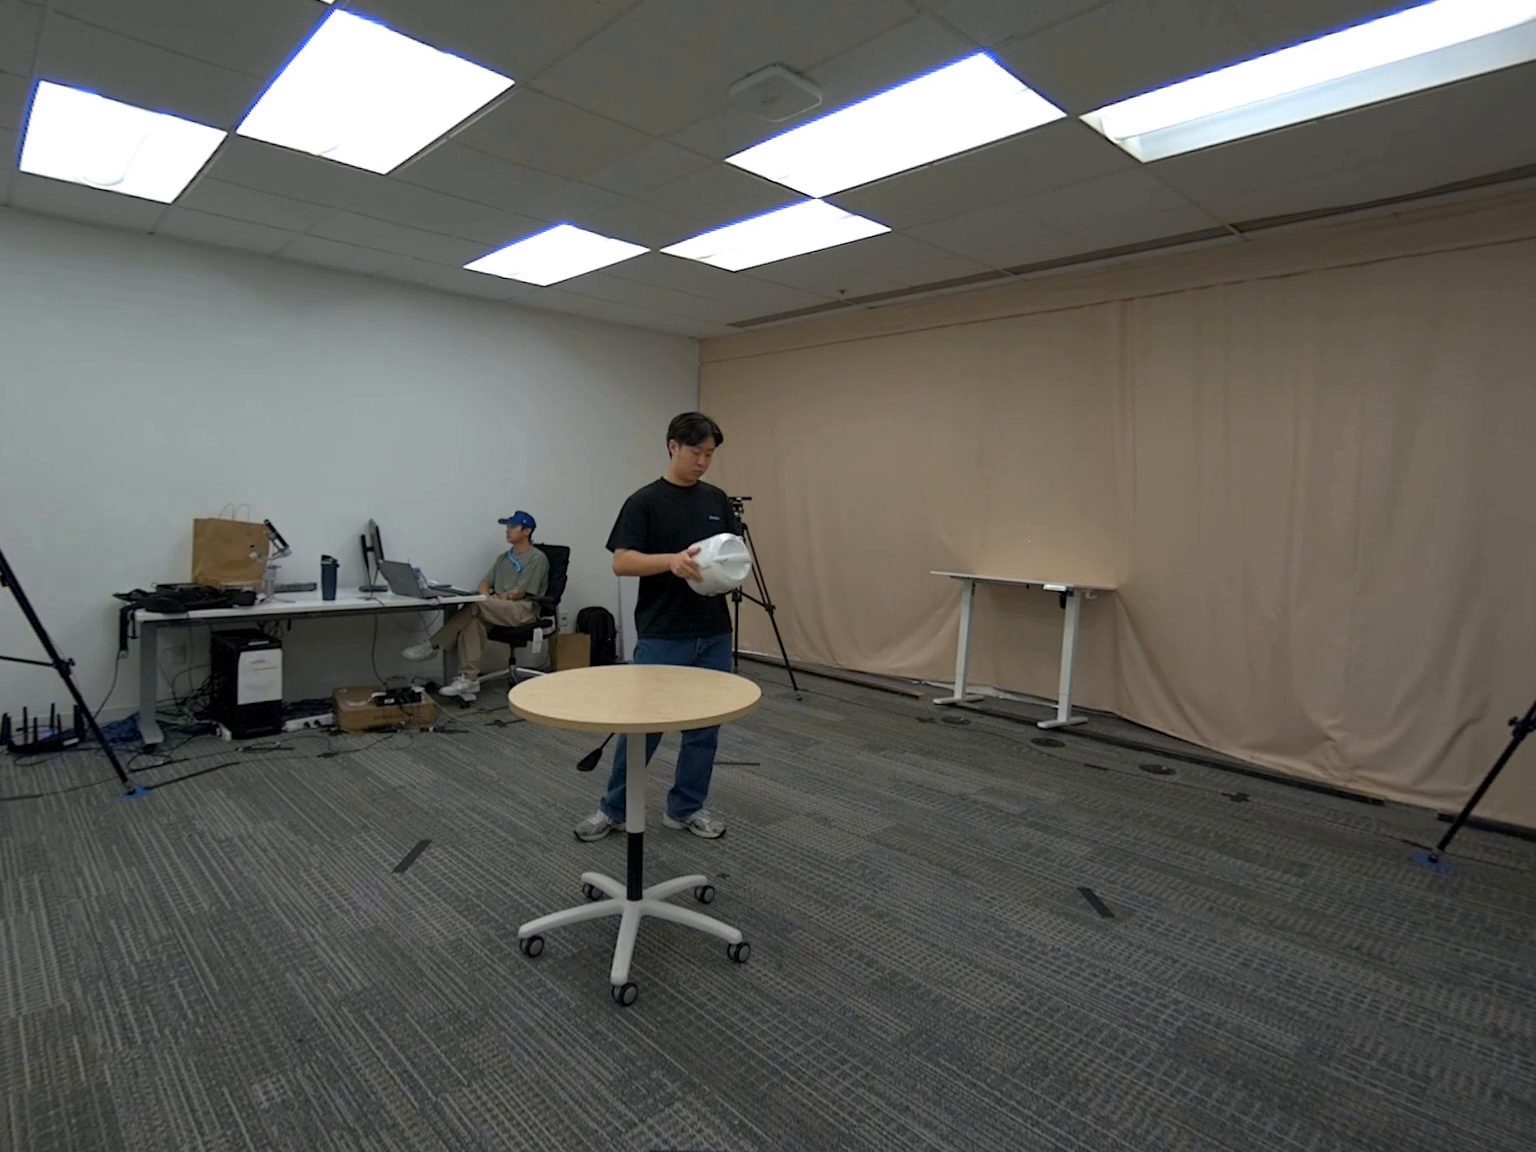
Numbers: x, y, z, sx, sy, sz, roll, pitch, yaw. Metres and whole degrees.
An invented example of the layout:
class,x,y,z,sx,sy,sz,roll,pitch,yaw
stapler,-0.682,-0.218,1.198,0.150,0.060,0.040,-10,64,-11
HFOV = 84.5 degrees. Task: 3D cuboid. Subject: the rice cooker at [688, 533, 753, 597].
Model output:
class,x,y,z,sx,sy,sz,roll,pitch,yaw
rice cooker,-0.191,-0.044,3.198,0.215,0.219,0.236,-1,-13,-43
